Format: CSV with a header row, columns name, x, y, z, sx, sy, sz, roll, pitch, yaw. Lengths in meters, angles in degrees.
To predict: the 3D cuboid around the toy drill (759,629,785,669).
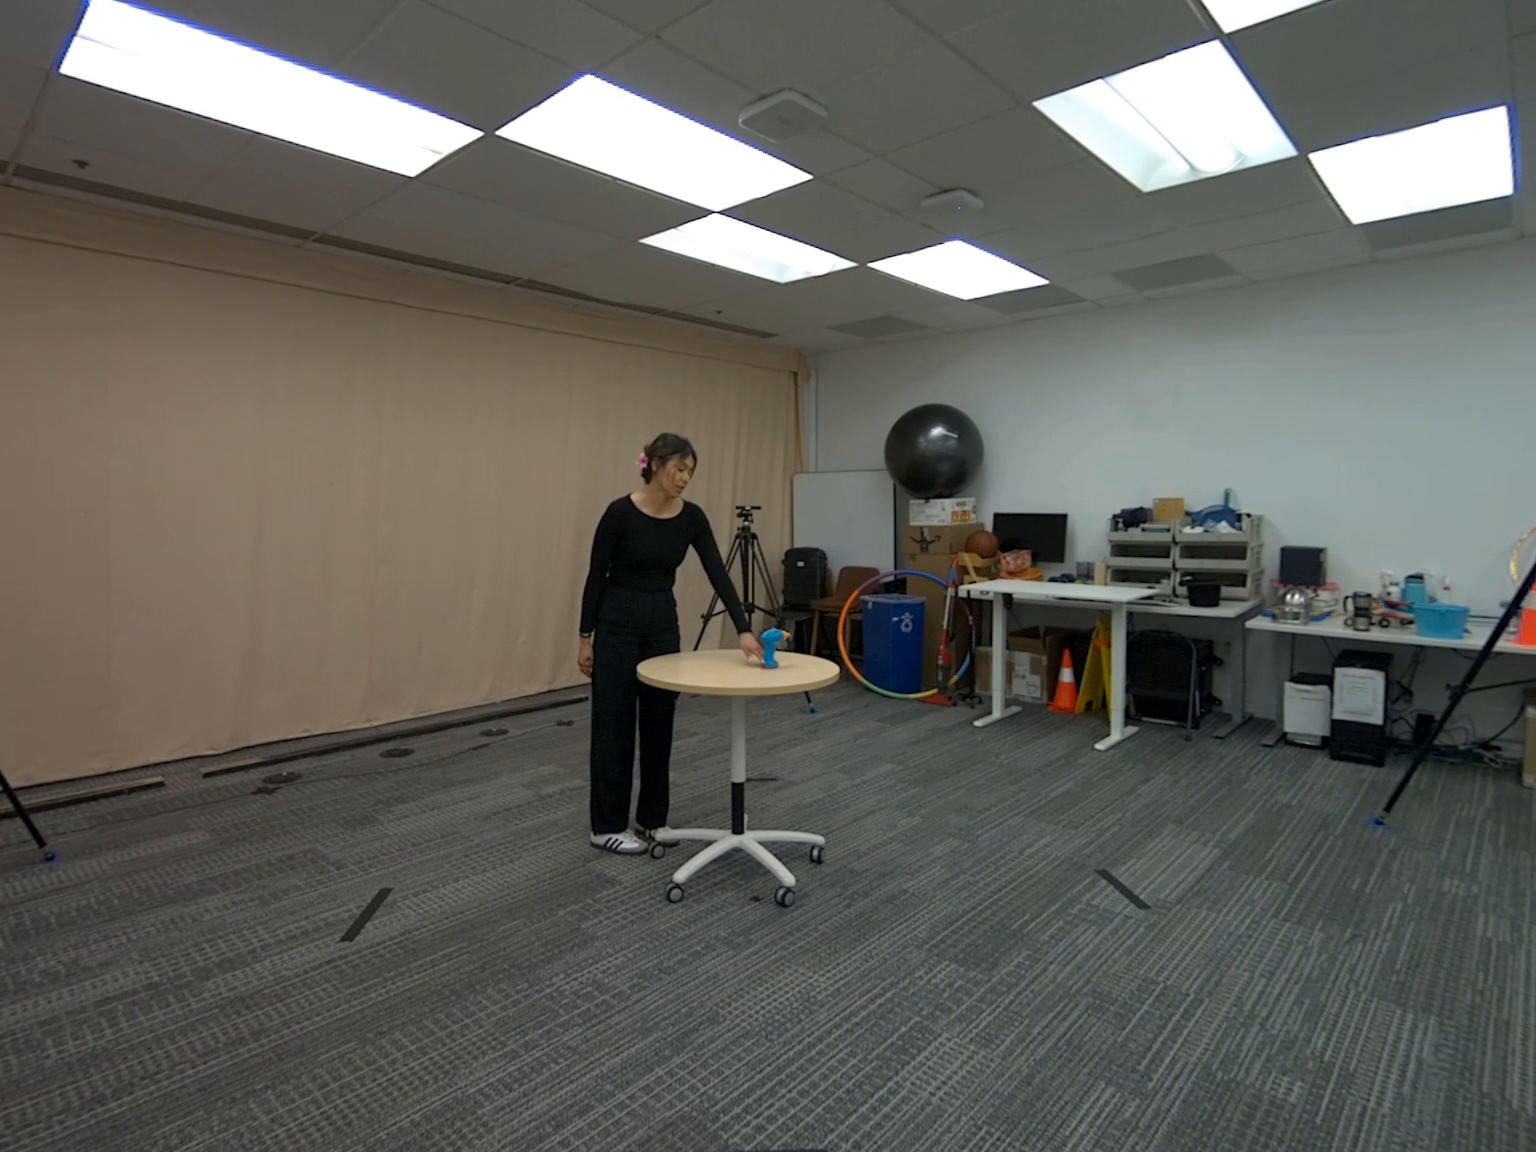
name,x,y,z,sx,sy,sz,roll,pitch,yaw
toy drill,0.026,0.271,3.211,0.063,0.146,0.166,4,4,23
